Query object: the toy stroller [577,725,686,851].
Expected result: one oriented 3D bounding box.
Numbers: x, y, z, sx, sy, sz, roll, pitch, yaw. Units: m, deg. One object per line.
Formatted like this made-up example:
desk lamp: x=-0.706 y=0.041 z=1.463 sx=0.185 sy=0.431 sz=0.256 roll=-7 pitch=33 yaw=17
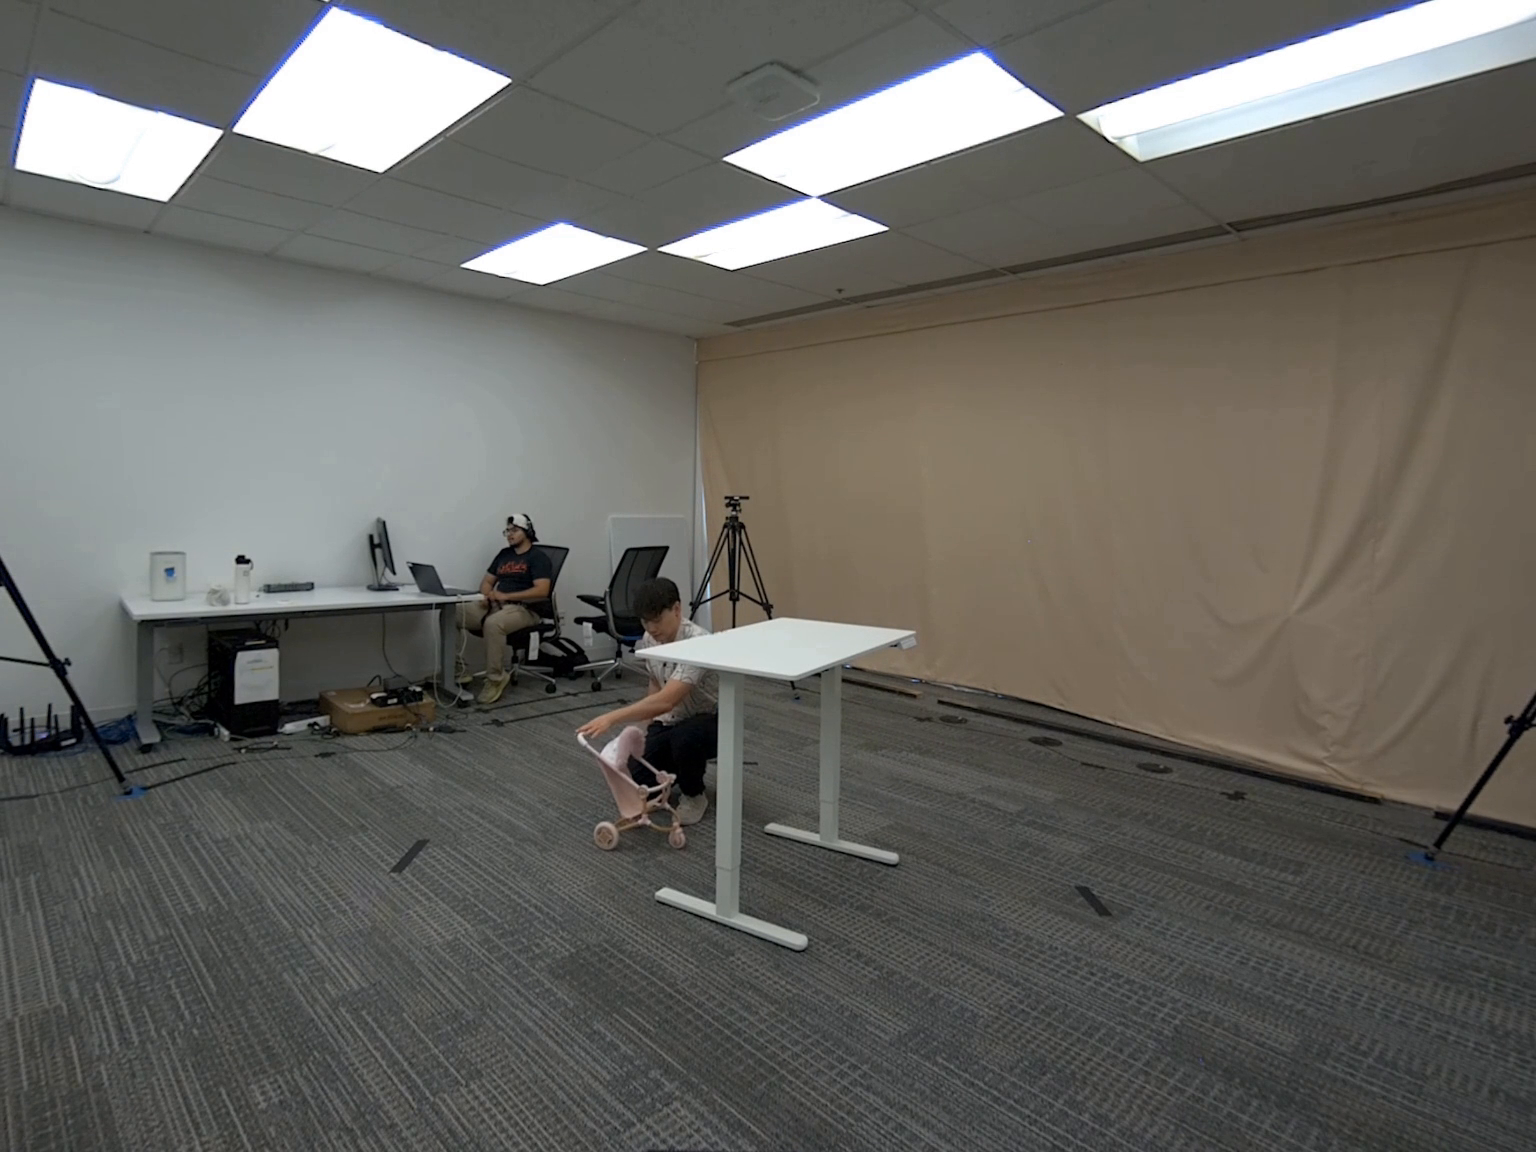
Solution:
toy stroller: x=-0.538 y=0.844 z=3.381 sx=0.346 sy=0.536 sz=0.277 roll=-13 pitch=-3 yaw=23
